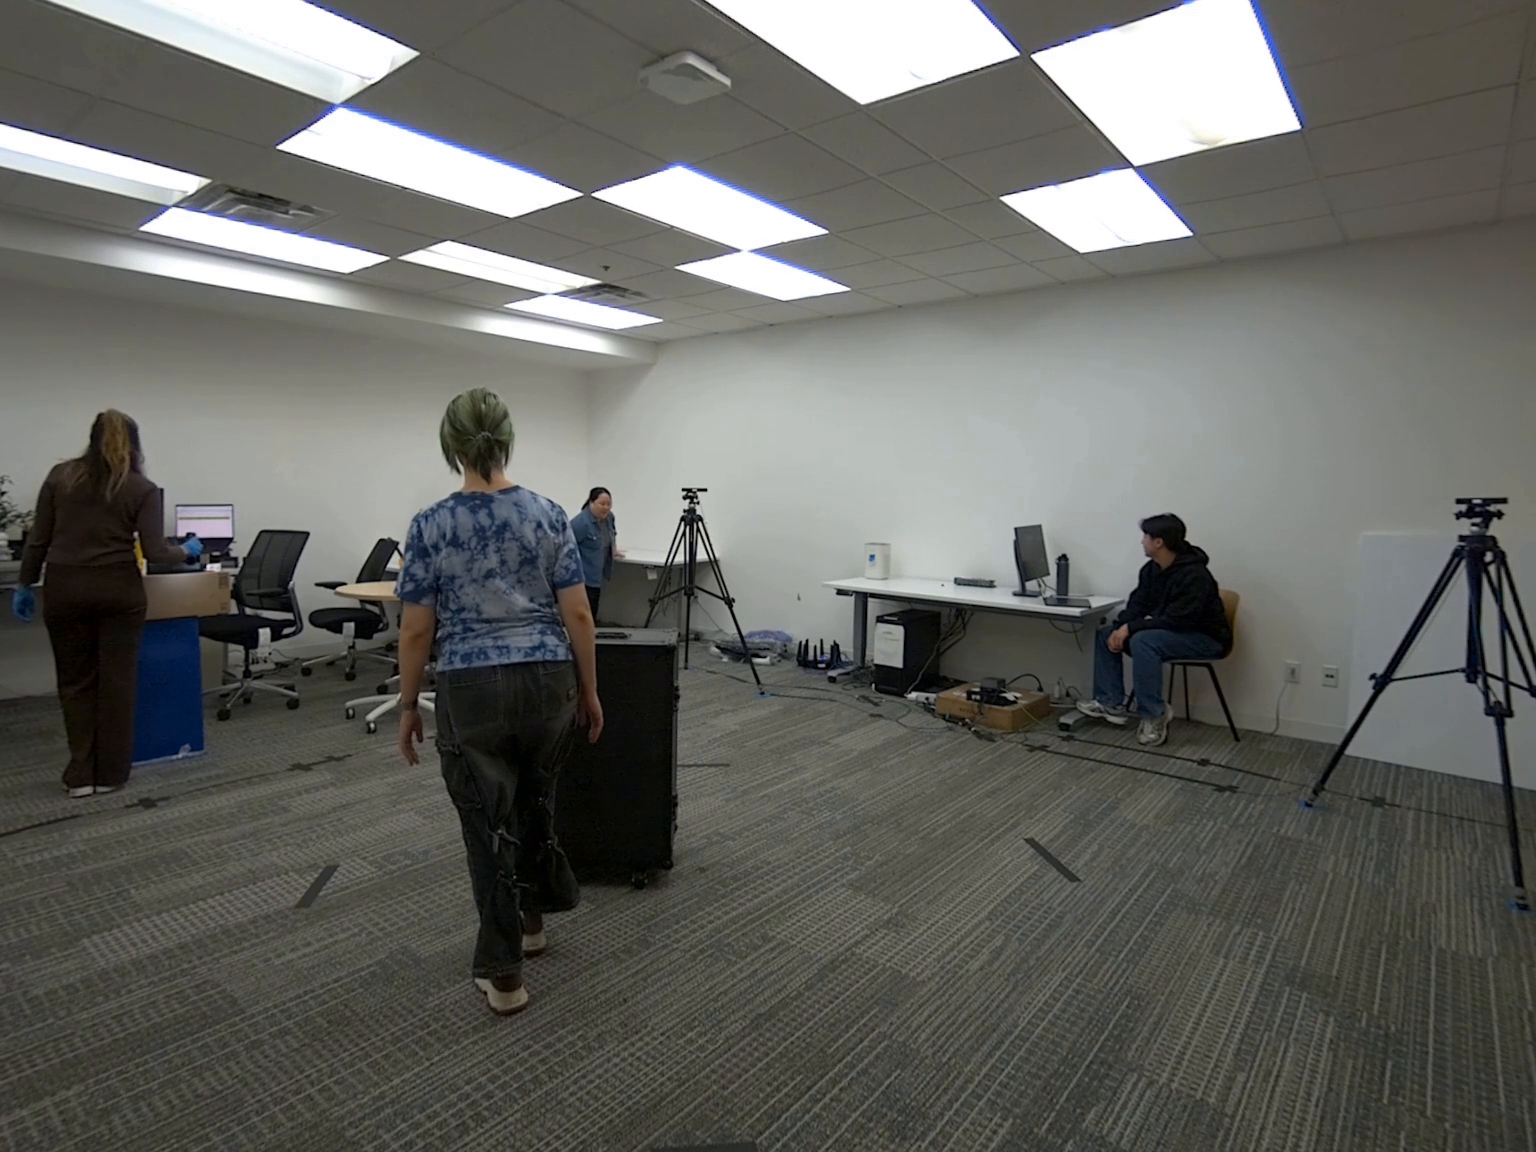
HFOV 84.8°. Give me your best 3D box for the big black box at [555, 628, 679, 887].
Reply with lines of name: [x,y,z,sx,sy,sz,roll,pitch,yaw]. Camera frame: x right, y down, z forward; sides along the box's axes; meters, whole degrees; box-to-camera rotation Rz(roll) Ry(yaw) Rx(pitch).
big black box: [-0.591,0.641,3.110,0.521,0.861,0.396,1,1,0]
